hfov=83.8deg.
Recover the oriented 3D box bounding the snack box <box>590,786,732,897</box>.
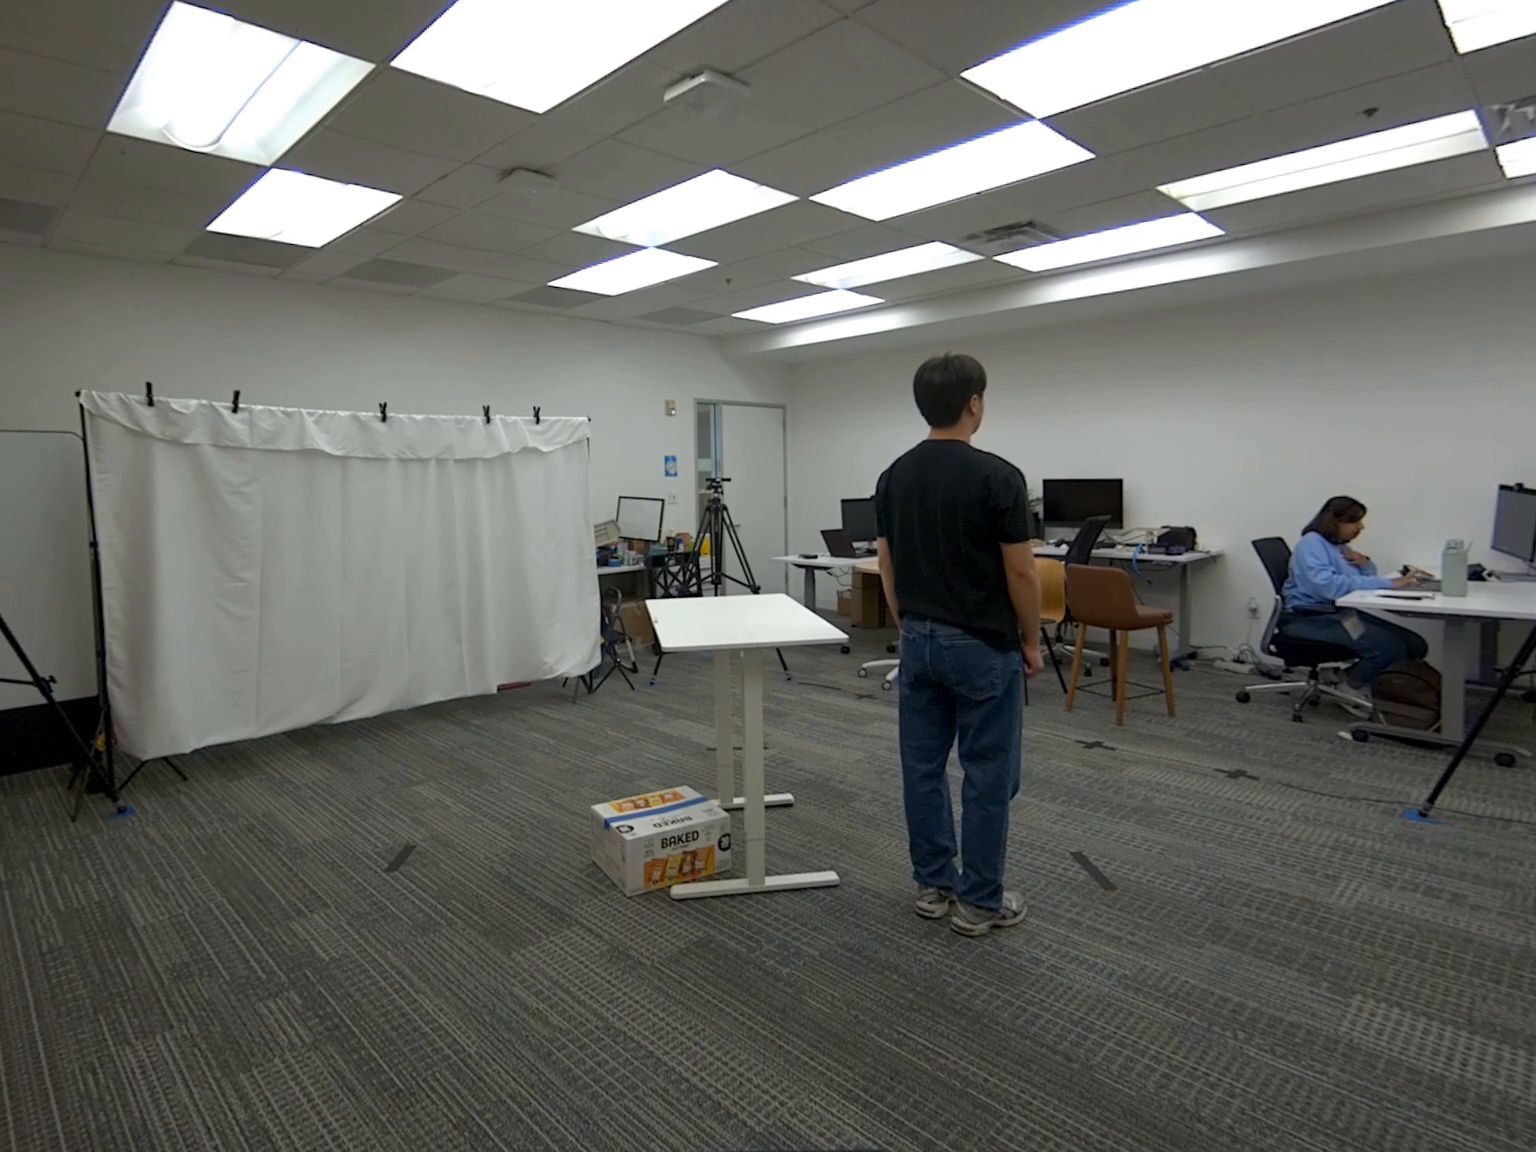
[{"bbox_3d":[-0.391,0.948,3.090,0.395,0.205,0.350,-4,7,-31],"label":"snack box"}]
